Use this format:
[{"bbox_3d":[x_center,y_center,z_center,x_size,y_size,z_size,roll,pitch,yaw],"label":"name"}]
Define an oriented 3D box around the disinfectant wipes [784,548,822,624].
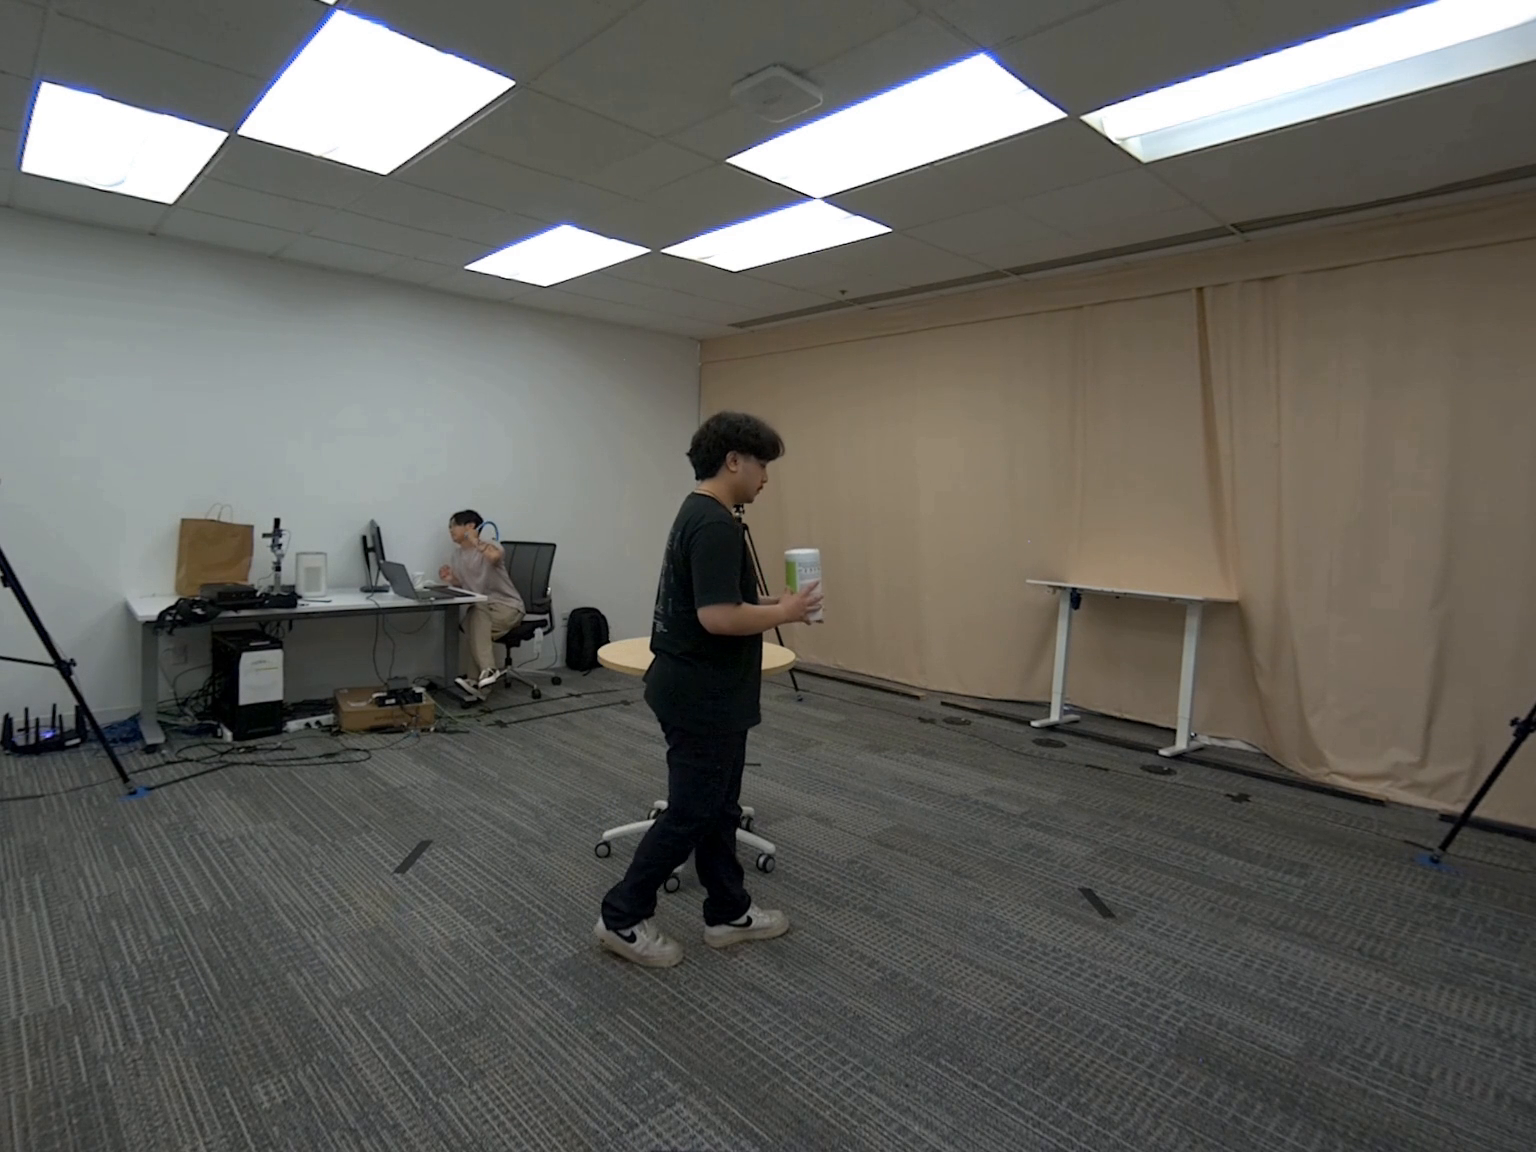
[{"bbox_3d":[0.104,0.023,2.605,0.118,0.217,0.118,-4,1,-1],"label":"disinfectant wipes"}]
